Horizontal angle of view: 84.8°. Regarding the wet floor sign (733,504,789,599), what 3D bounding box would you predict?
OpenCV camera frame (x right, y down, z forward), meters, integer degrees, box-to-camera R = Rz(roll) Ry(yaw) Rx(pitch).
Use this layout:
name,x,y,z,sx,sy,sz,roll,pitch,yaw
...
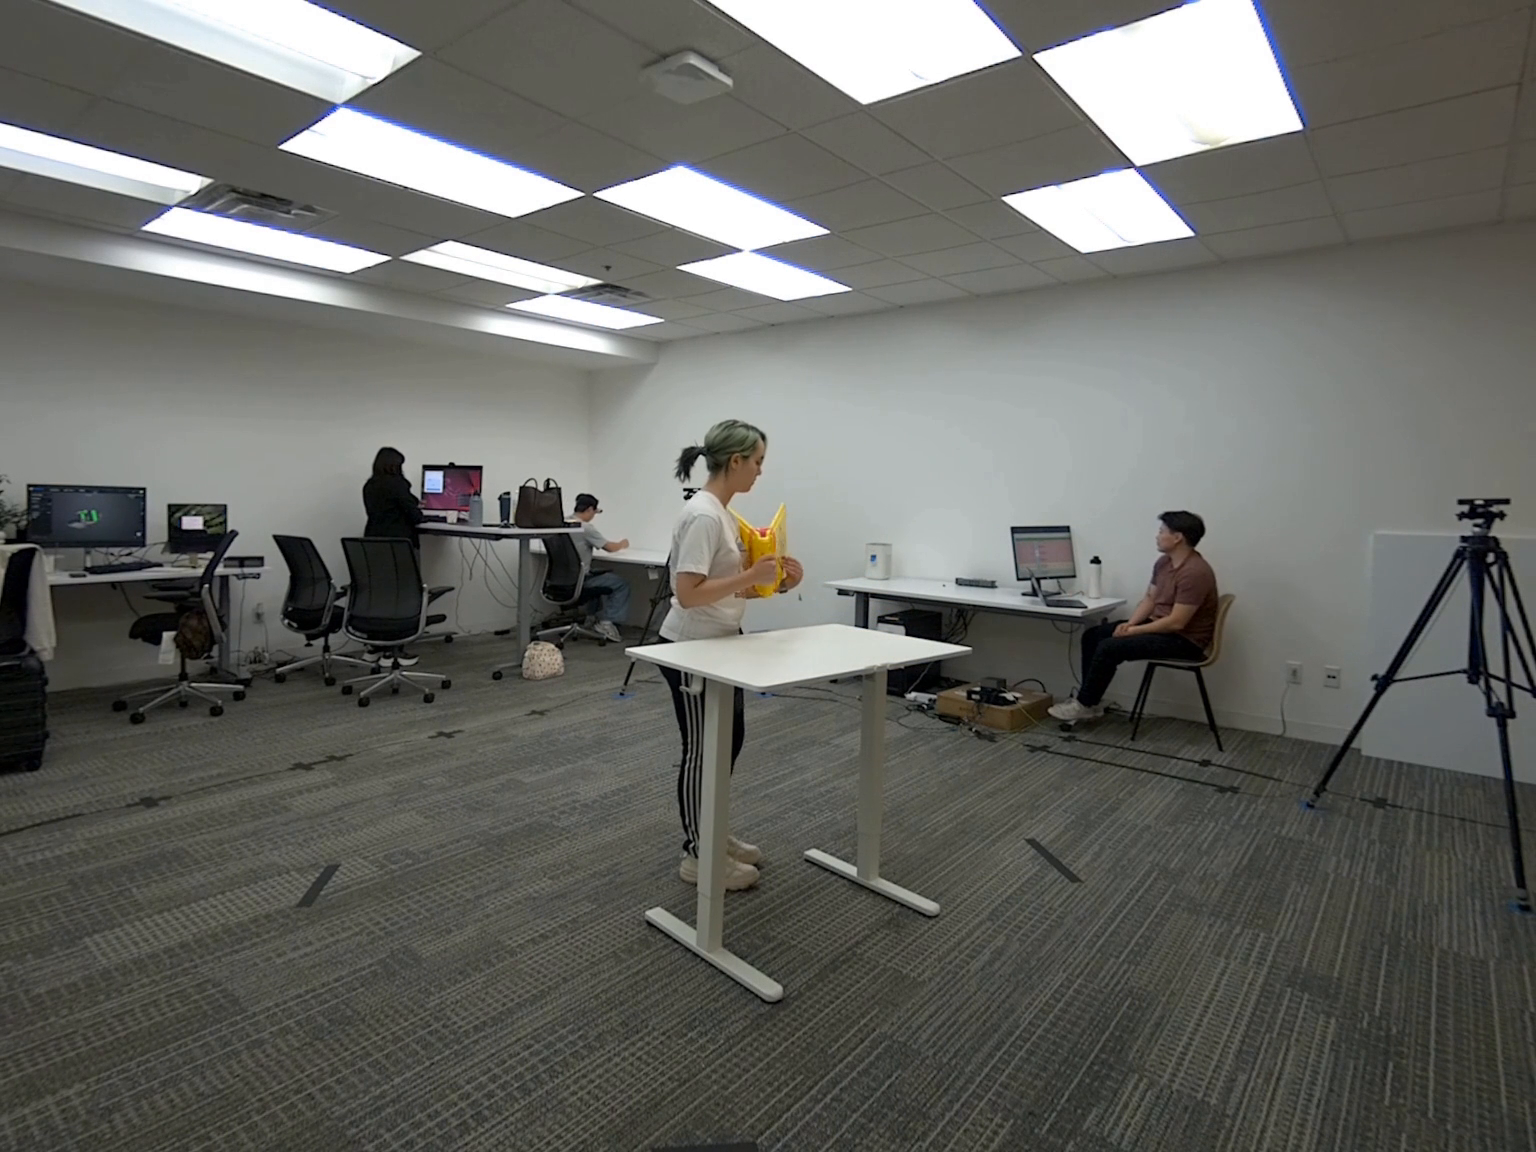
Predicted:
name,x,y,z,sx,sy,sz,roll,pitch,yaw
wet floor sign,-0.035,-0.091,3.172,0.289,0.279,0.655,-4,12,-4
